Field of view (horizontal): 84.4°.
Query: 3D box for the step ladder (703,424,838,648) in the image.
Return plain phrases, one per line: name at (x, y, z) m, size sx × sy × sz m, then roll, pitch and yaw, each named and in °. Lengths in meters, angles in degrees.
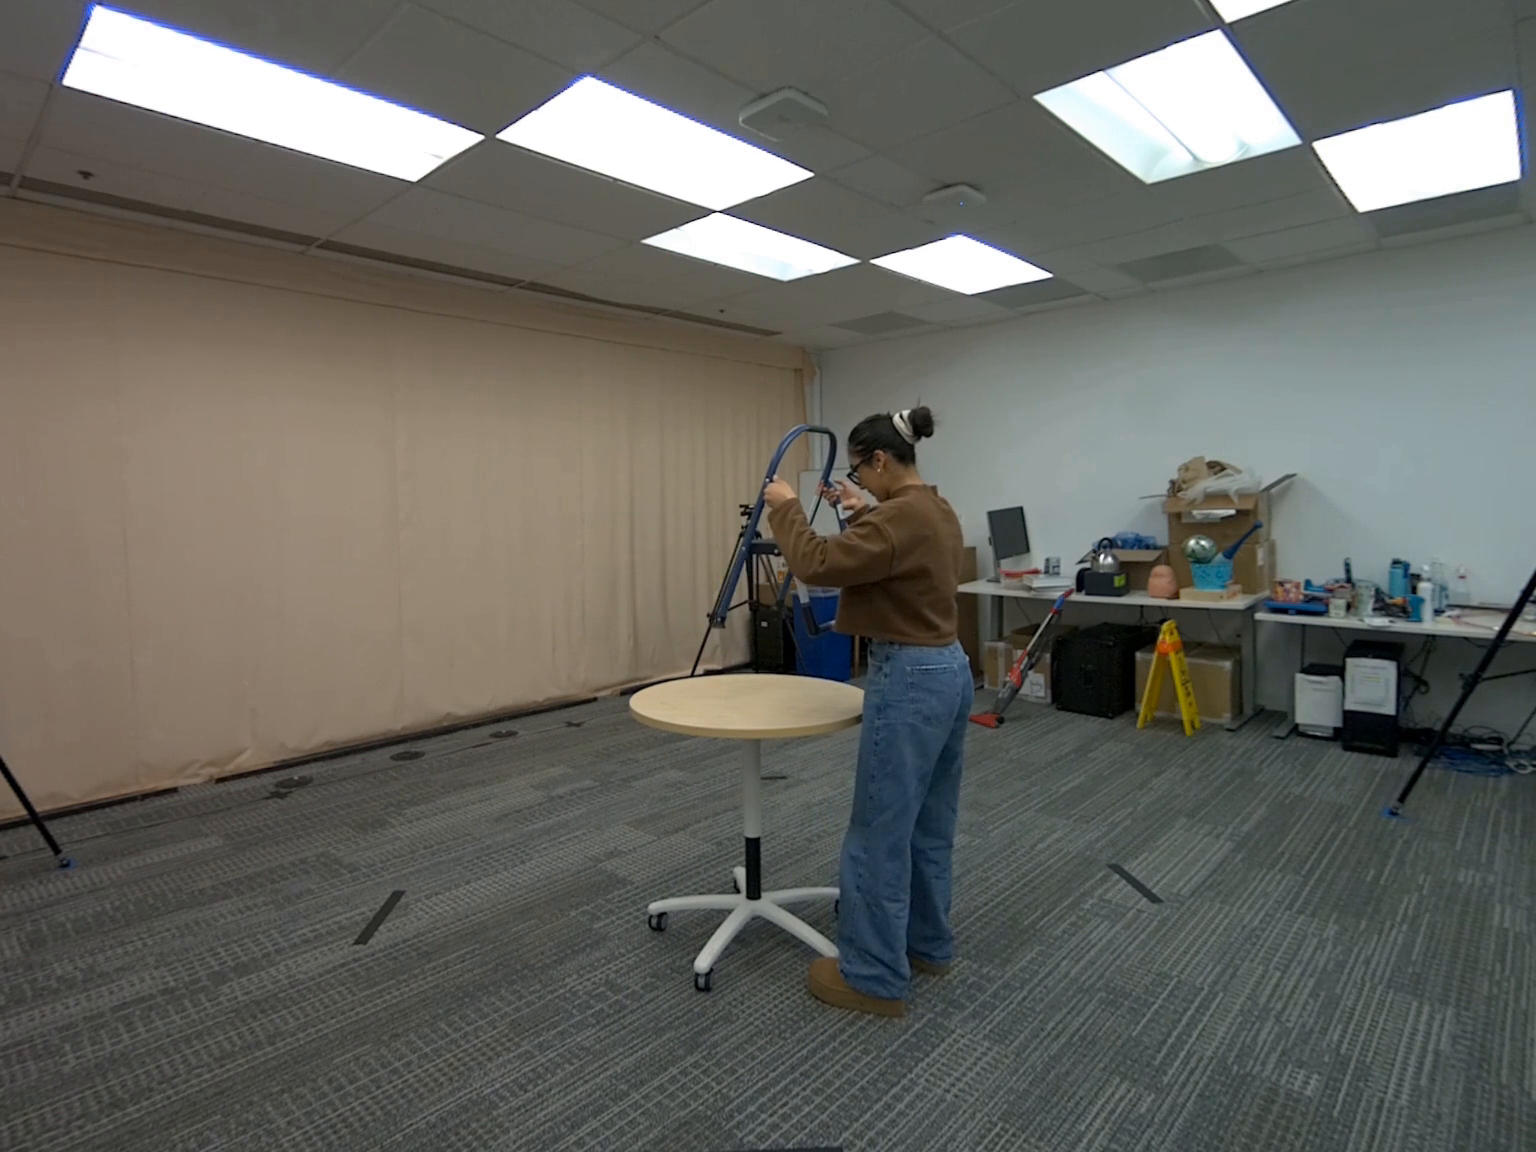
step ladder at (0.088, -0.157, 2.592) m, size 0.359 × 0.604 × 0.420 m, roll 3°, pitch 6°, yaw 28°
